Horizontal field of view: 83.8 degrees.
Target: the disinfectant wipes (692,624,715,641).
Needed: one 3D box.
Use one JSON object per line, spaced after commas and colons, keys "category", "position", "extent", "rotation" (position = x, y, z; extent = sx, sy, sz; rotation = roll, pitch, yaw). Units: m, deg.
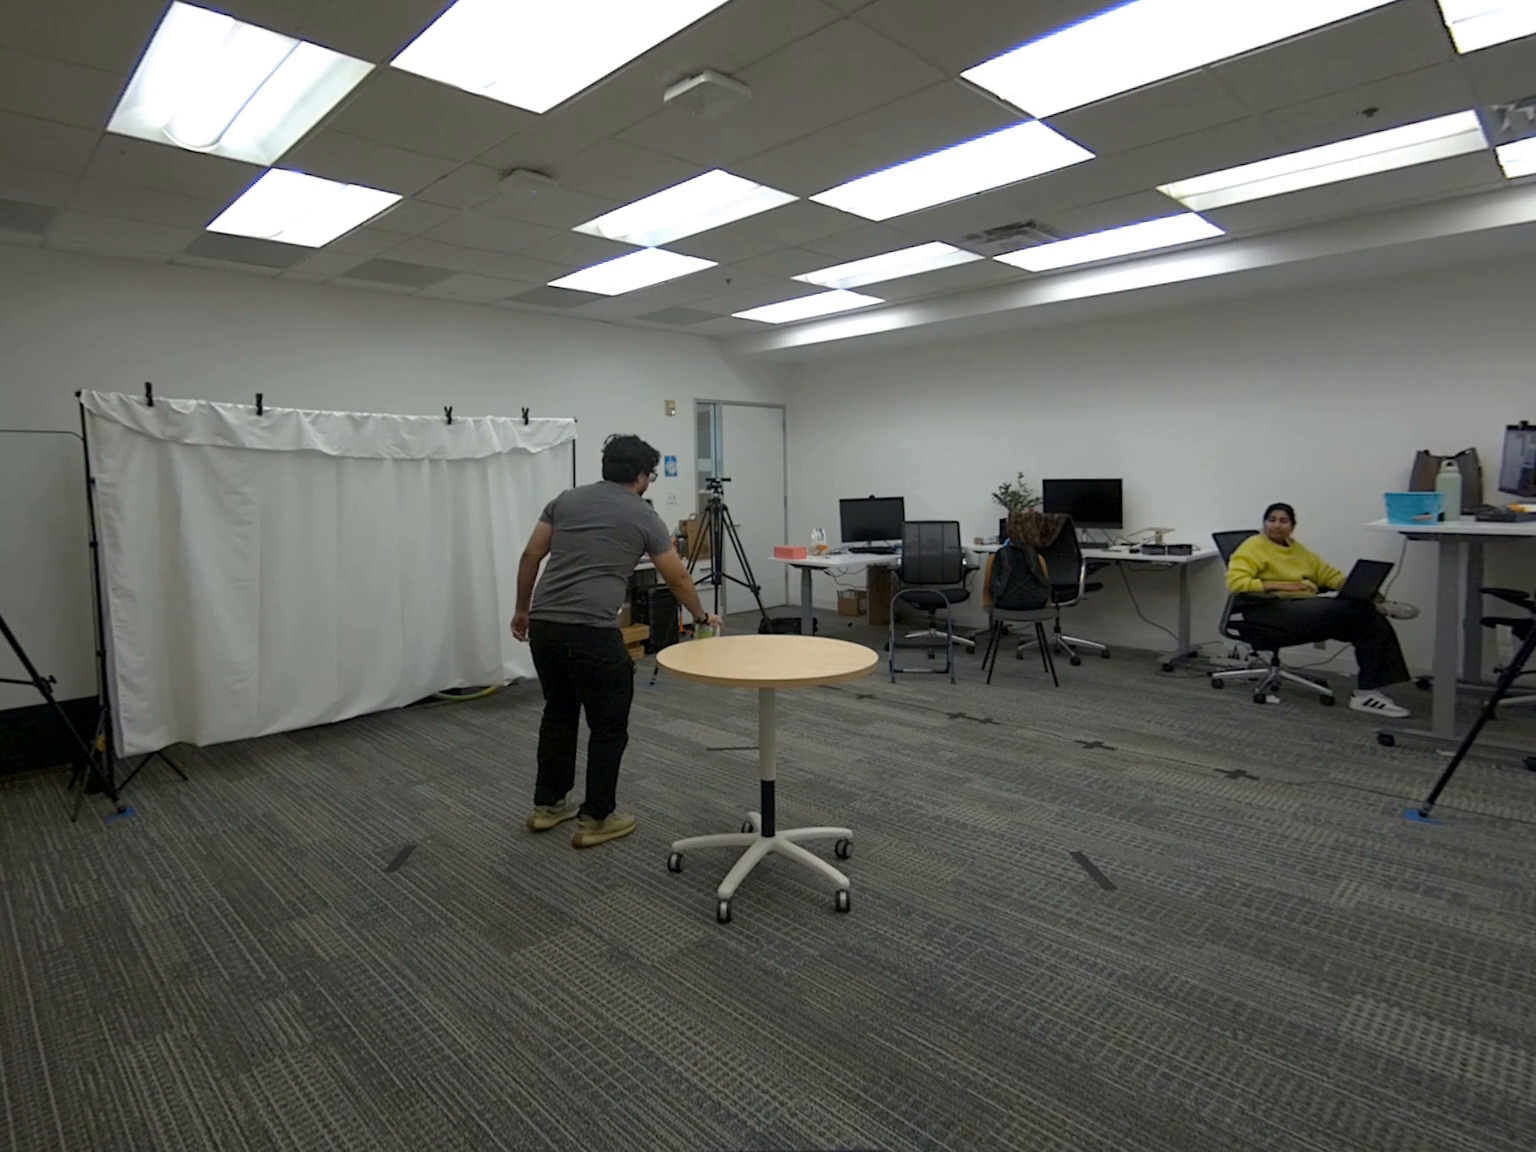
{"category": "disinfectant wipes", "position": [-0.260, 0.312, 3.674], "extent": [0.118, 0.218, 0.118], "rotation": [2, -1, -2]}
